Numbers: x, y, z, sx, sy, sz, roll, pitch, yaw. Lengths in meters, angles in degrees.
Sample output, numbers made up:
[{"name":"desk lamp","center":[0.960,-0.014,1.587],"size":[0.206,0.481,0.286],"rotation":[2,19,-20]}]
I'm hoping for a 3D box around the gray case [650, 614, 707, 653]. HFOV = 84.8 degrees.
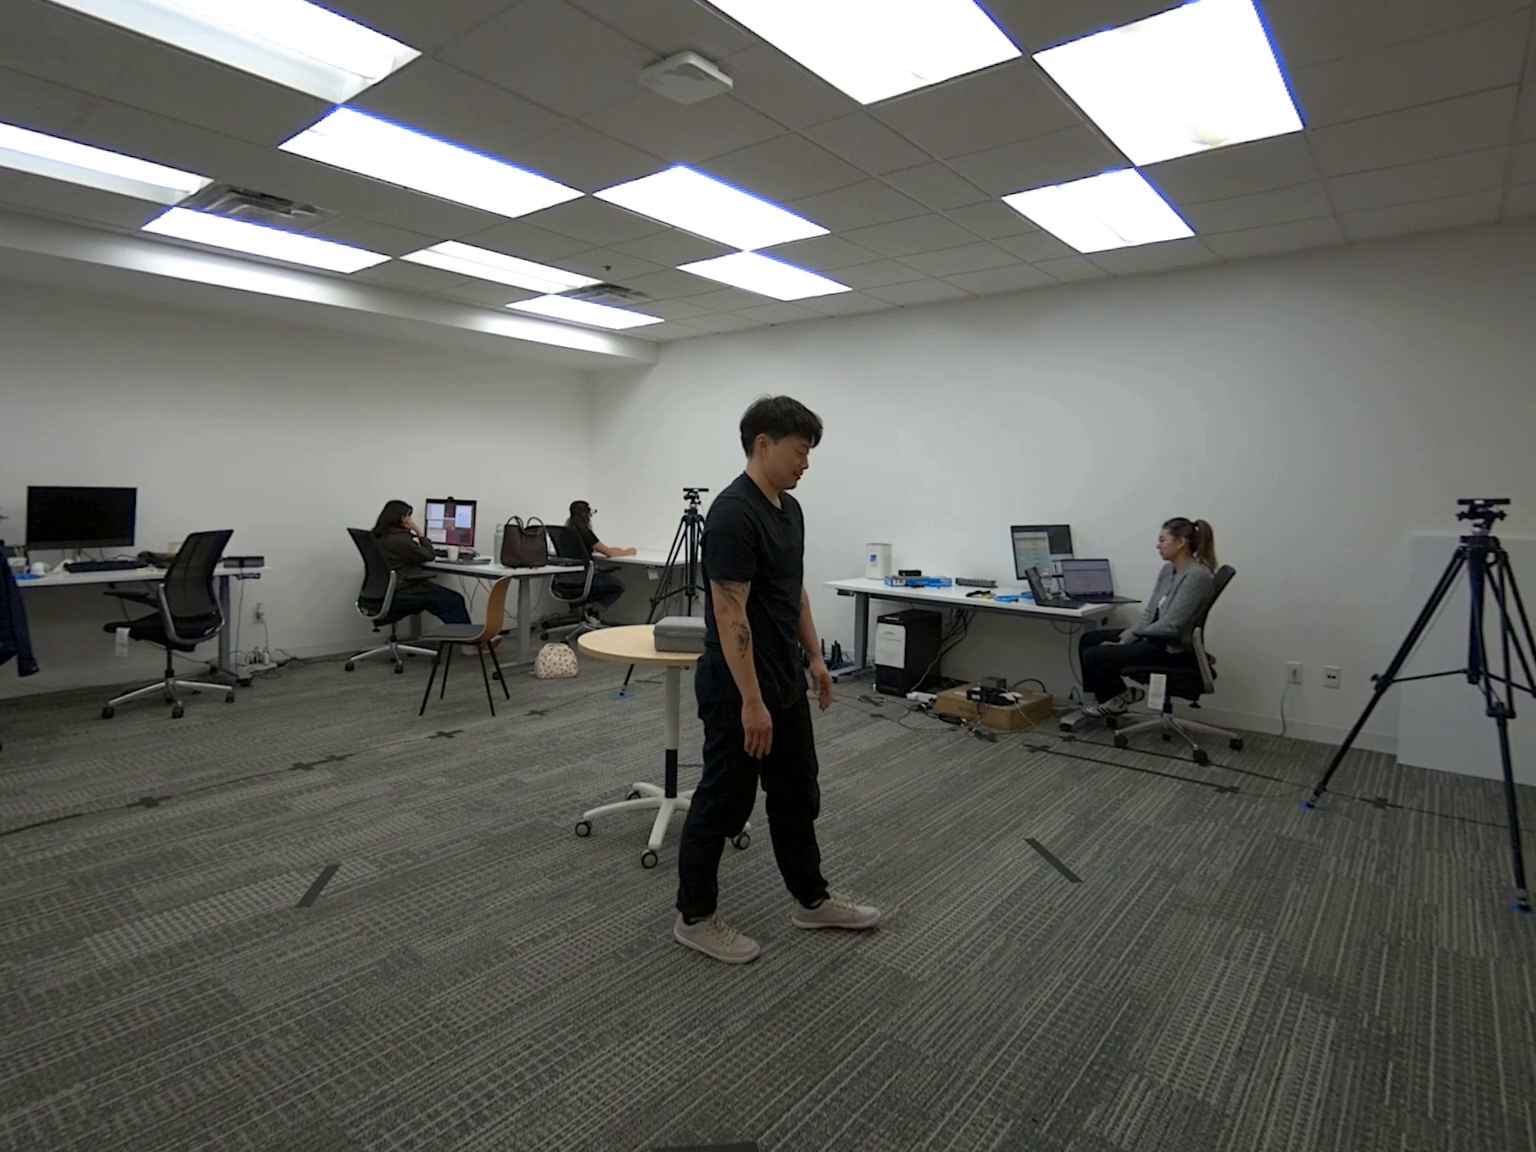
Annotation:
[{"name":"gray case","center":[-0.306,0.218,3.272],"size":[0.259,0.104,0.260],"rotation":[1,4,5]}]
